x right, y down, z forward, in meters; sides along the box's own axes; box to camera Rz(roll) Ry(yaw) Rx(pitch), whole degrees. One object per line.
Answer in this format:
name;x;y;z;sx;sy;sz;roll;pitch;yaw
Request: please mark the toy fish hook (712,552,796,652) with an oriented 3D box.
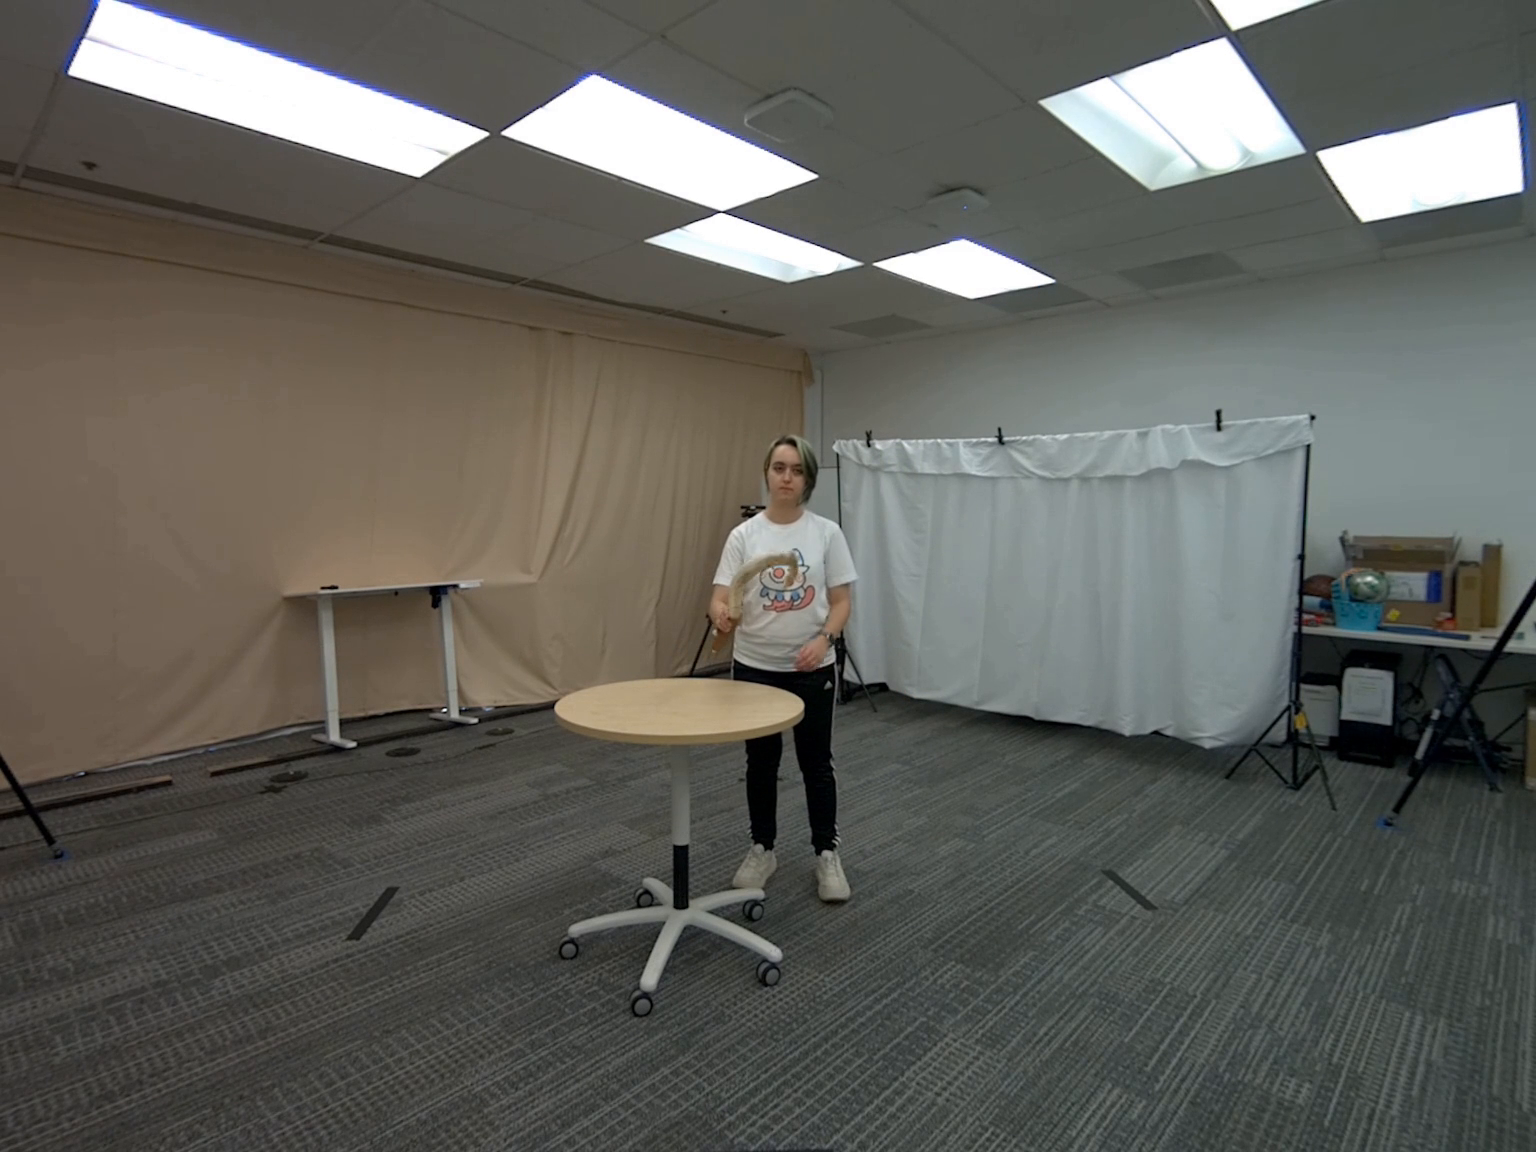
toy fish hook;-0.058;0.090;2.612;0.220;0.049;0.504;-4;-36;-23
